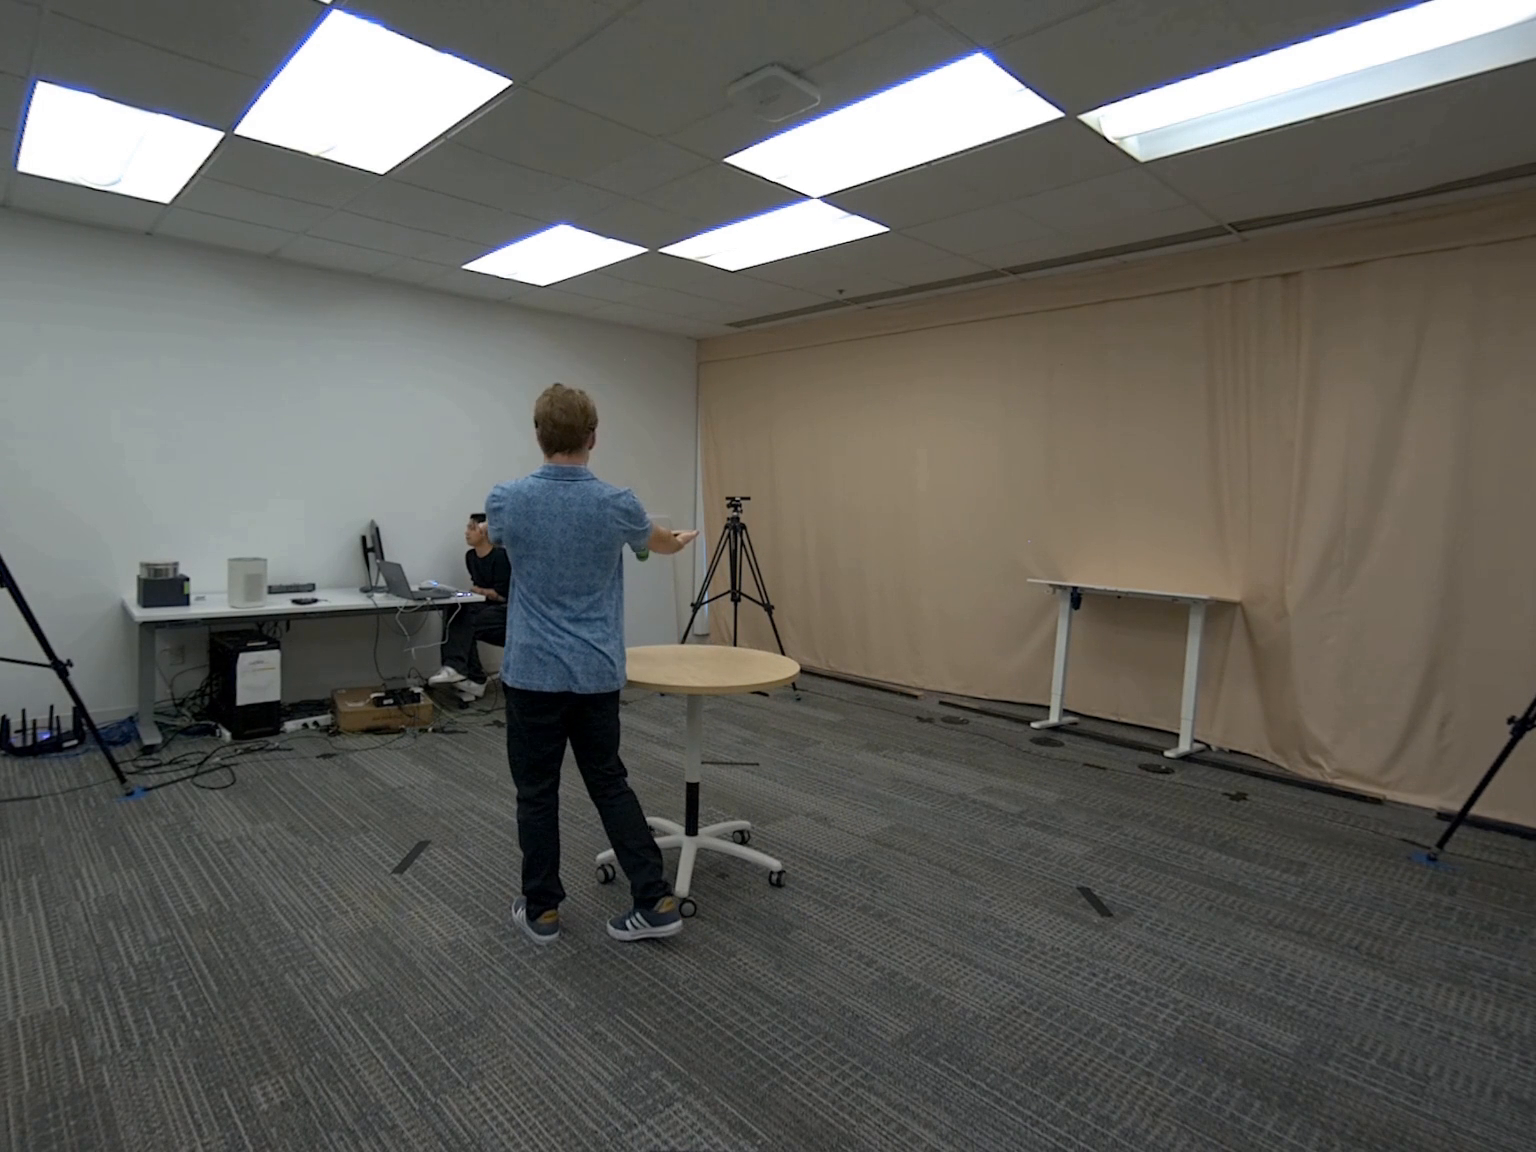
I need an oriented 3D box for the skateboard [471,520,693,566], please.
[{"bbox_3d":[-0.687,-0.123,3.158,0.780,0.111,0.194,2,-6,-8],"label":"skateboard"}]
